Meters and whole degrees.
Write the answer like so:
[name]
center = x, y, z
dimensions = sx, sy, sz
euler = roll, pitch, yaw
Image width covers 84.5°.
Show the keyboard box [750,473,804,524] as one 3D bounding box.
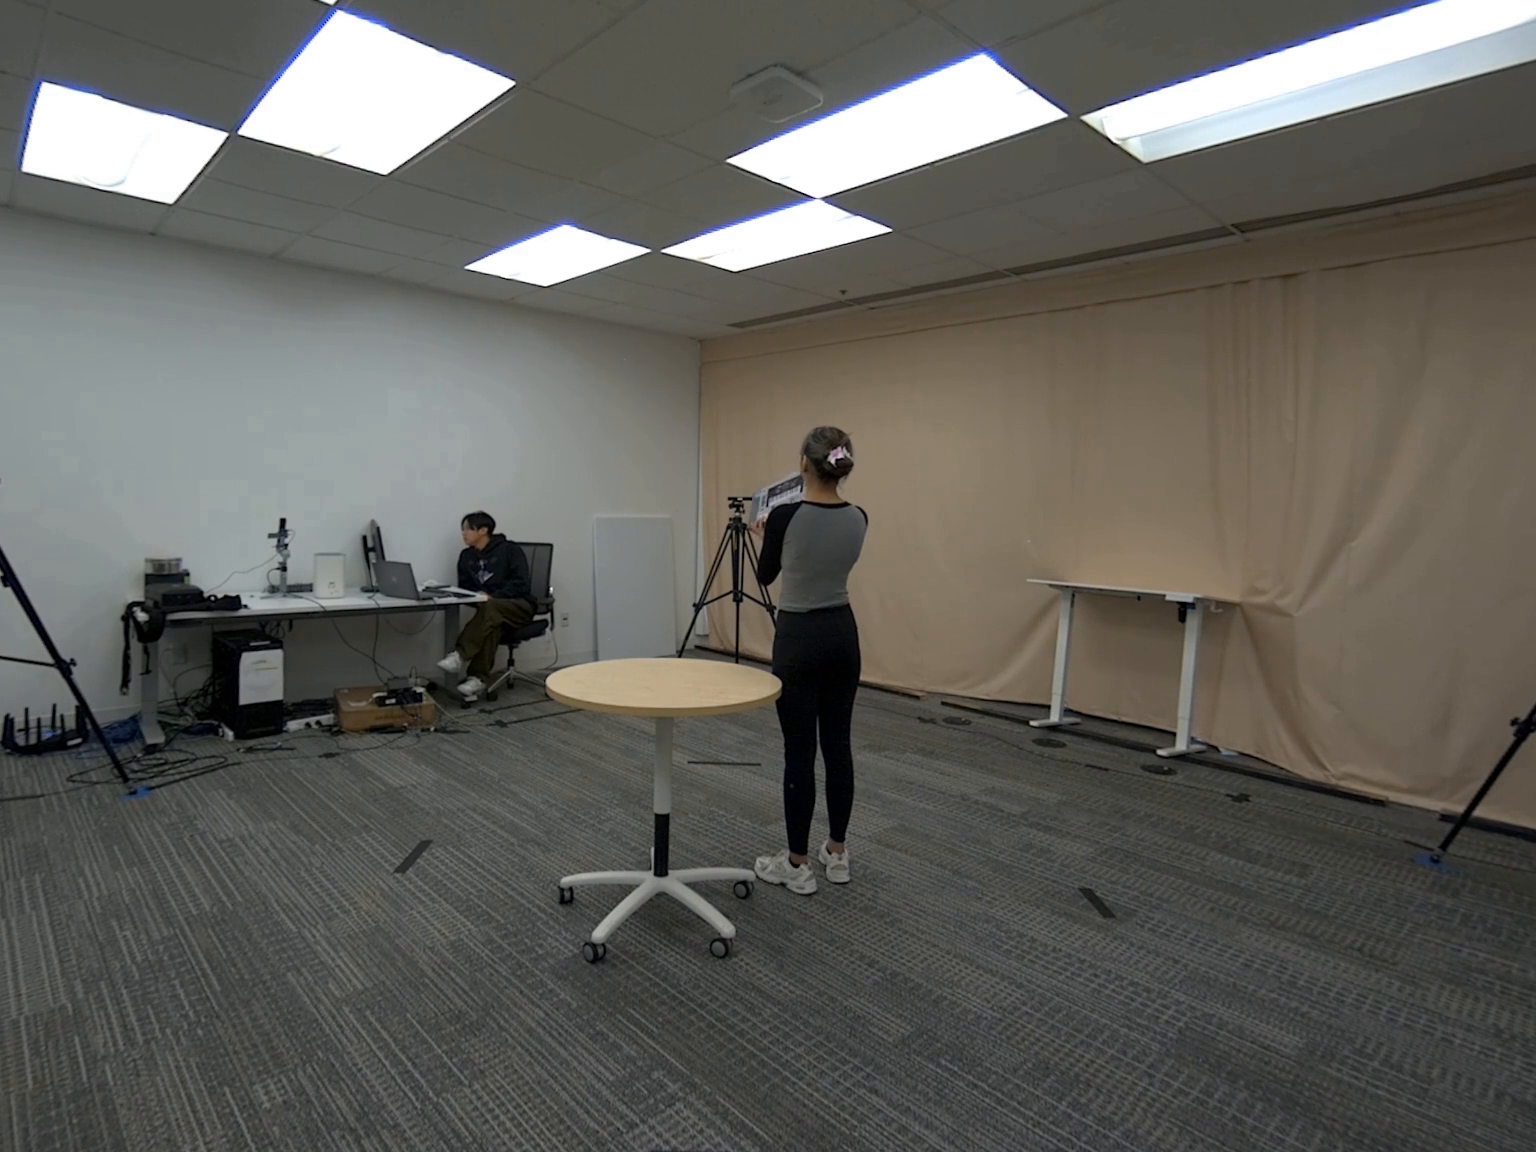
[keyboard box]
center = 0.078, -0.304, 3.356
dimensions = 0.057, 0.178, 0.443
euler = 27, -28, -31
